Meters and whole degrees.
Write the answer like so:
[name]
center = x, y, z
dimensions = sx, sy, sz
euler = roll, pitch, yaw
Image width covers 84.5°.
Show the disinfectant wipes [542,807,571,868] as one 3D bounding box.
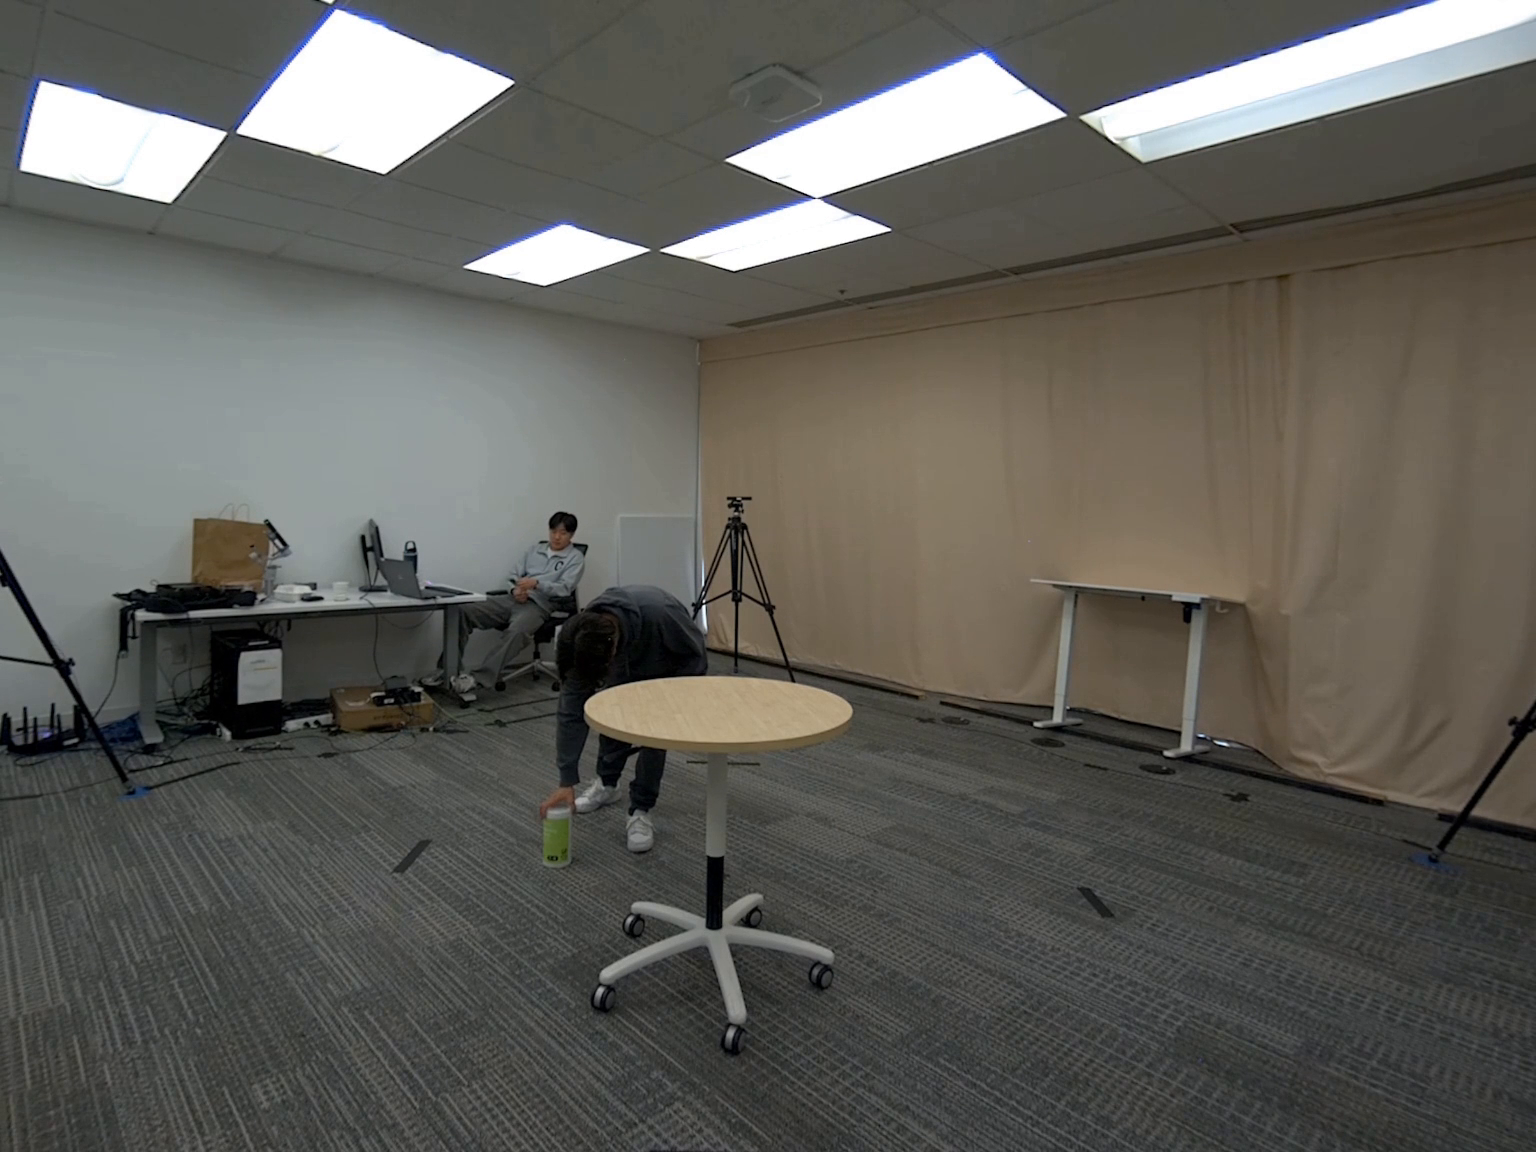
[disinfectant wipes]
center = -0.814, 0.985, 3.177
dimensions = 0.118, 0.217, 0.118
euler = 0, 5, -1
